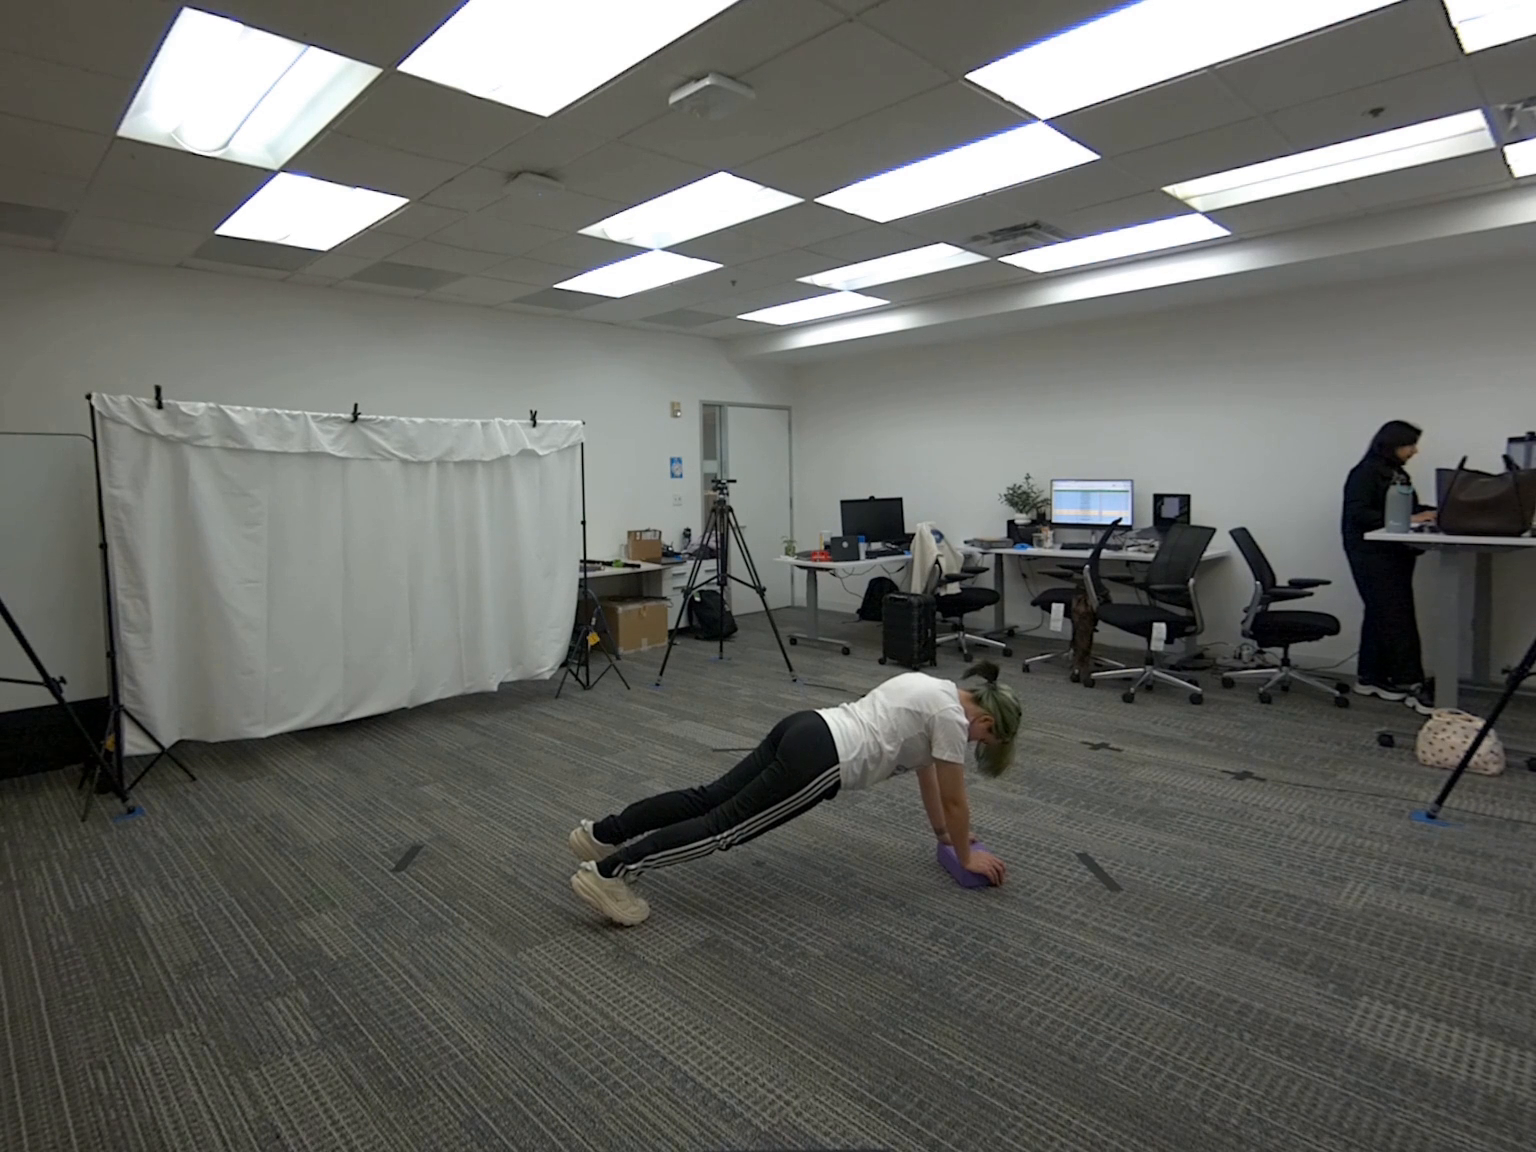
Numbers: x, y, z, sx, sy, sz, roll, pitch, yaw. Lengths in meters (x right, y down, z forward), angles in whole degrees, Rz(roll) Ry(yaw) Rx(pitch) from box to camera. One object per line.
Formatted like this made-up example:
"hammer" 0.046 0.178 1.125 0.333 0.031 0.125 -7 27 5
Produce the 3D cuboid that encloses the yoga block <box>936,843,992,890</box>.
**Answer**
"yoga block" 0.706 1.006 3.007 0.148 0.076 0.232 -2 5 -10
